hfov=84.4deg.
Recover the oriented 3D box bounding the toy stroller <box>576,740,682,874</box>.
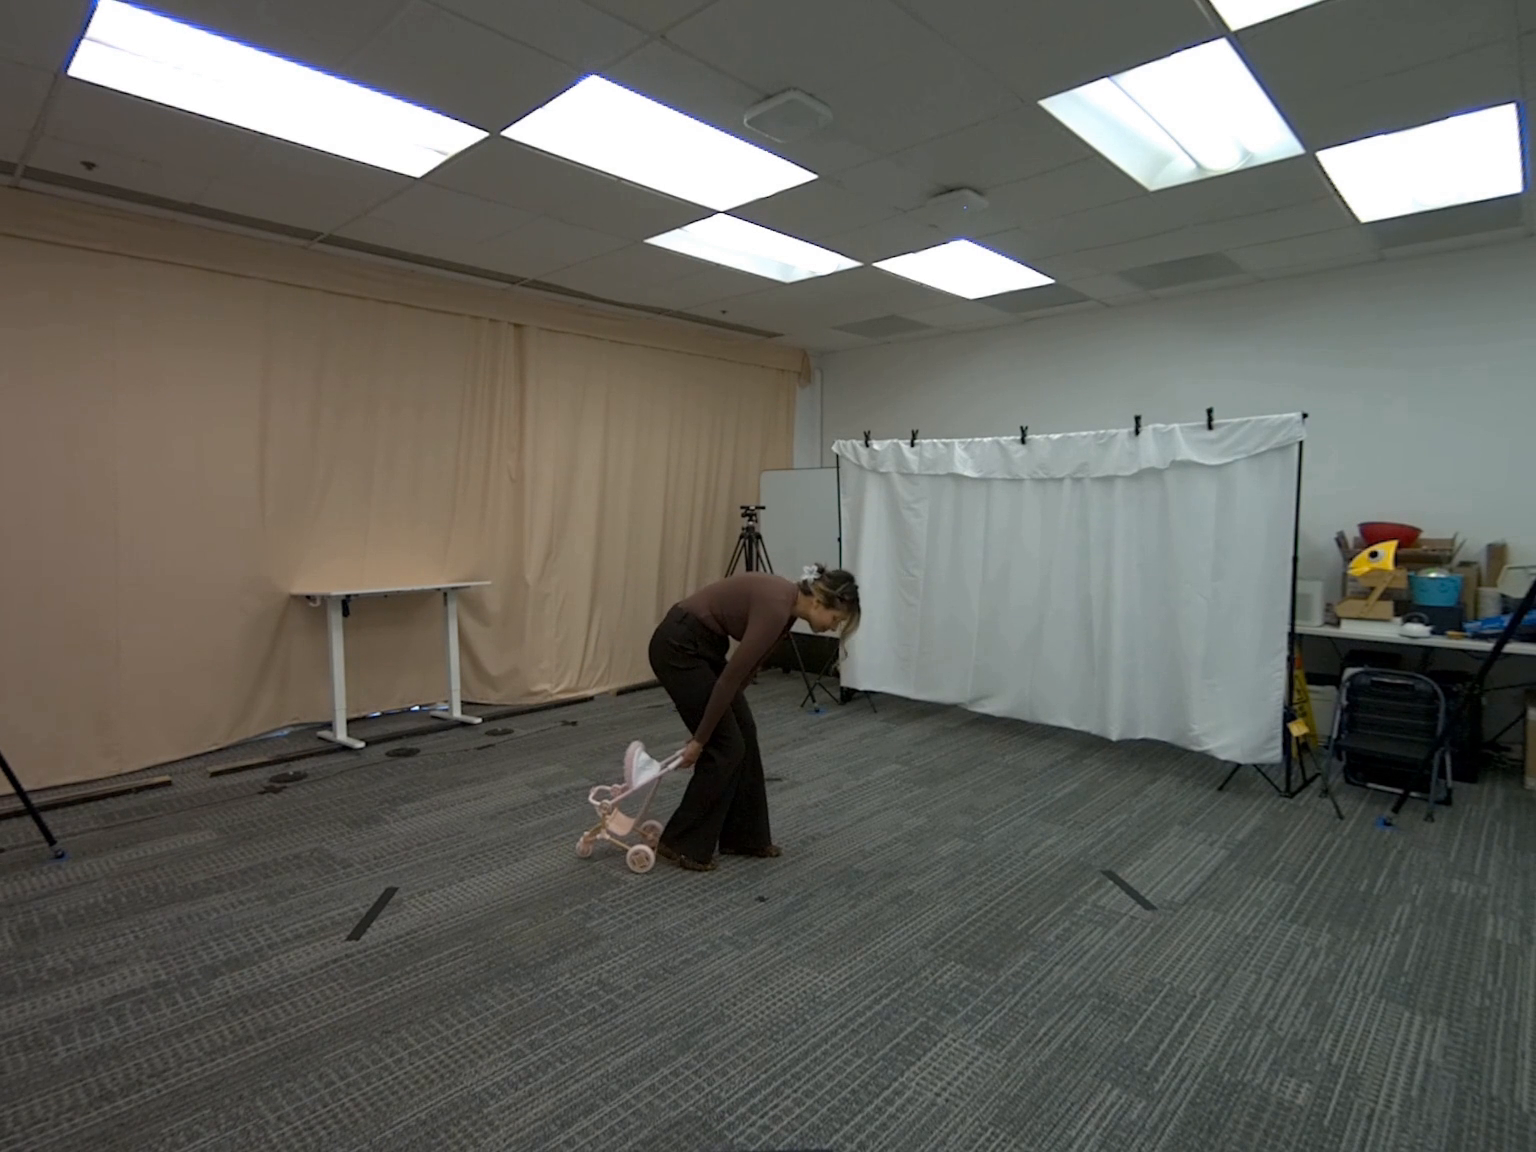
[{"bbox_3d":[-0.545,0.900,3.329,0.345,0.534,0.279,16,5,8],"label":"toy stroller"}]
